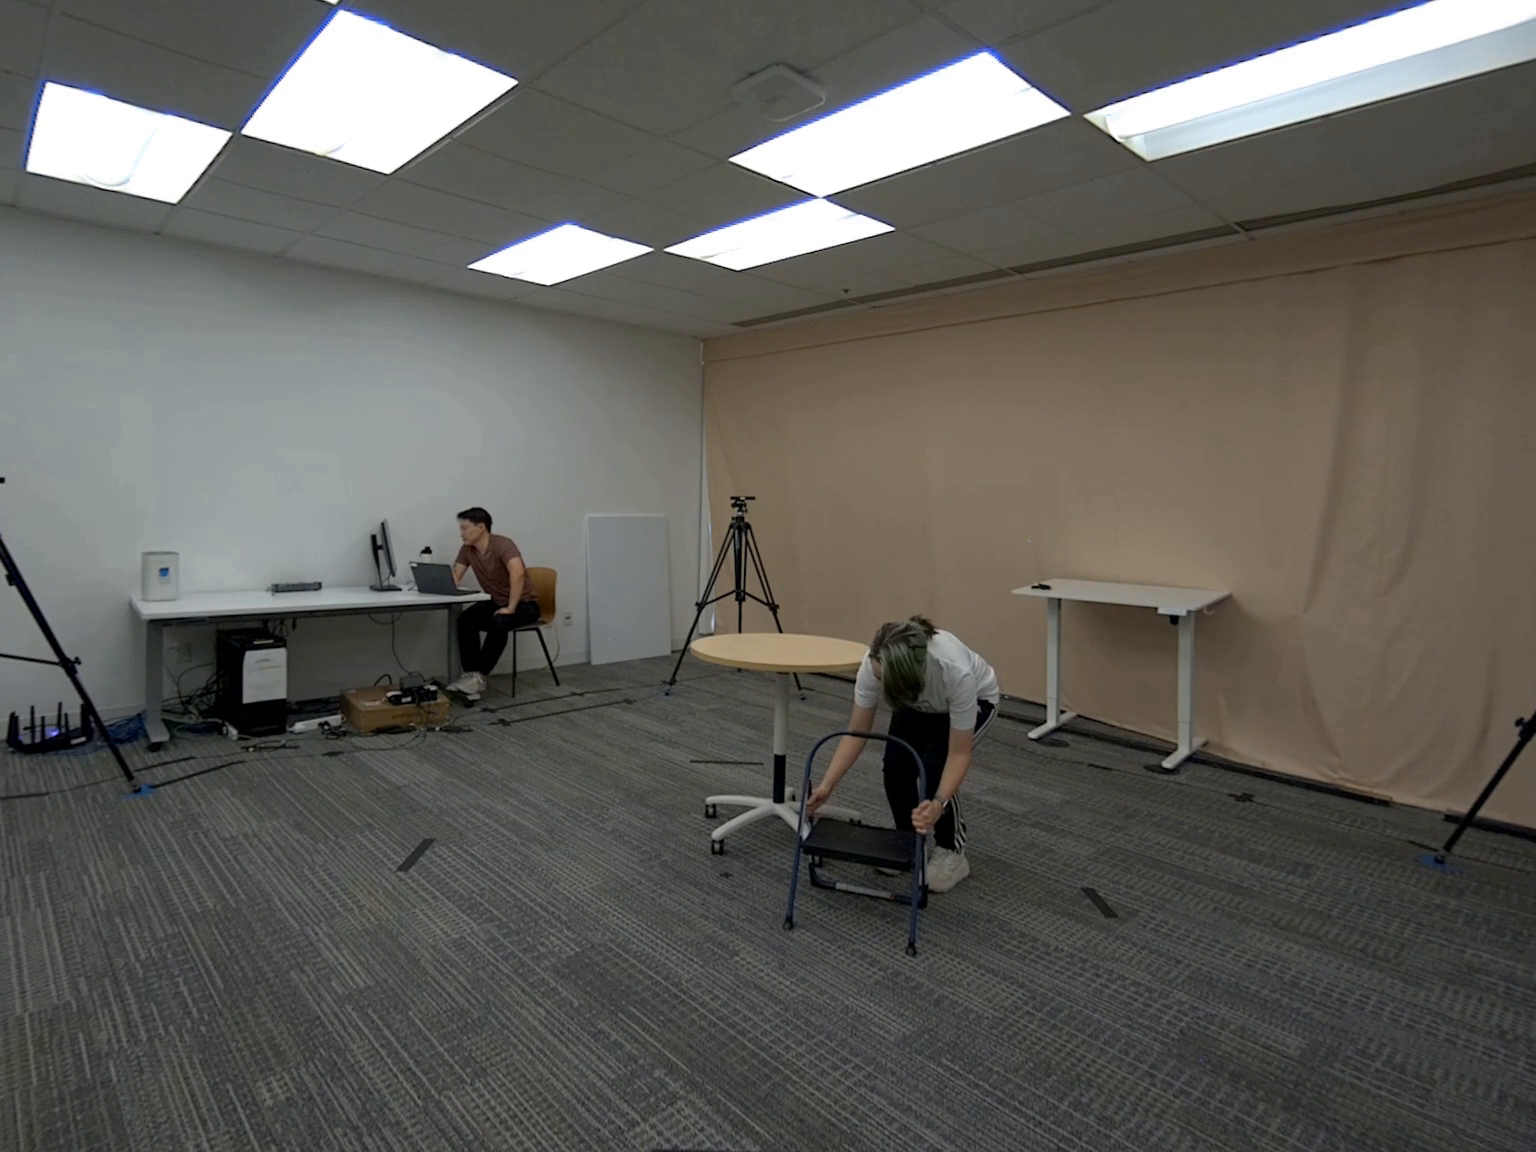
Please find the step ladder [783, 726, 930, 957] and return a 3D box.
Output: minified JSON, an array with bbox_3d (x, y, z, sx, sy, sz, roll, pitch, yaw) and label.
[{"bbox_3d":[0.303,0.839,2.798,0.437,0.604,0.345,2,6,19],"label":"step ladder"}]
